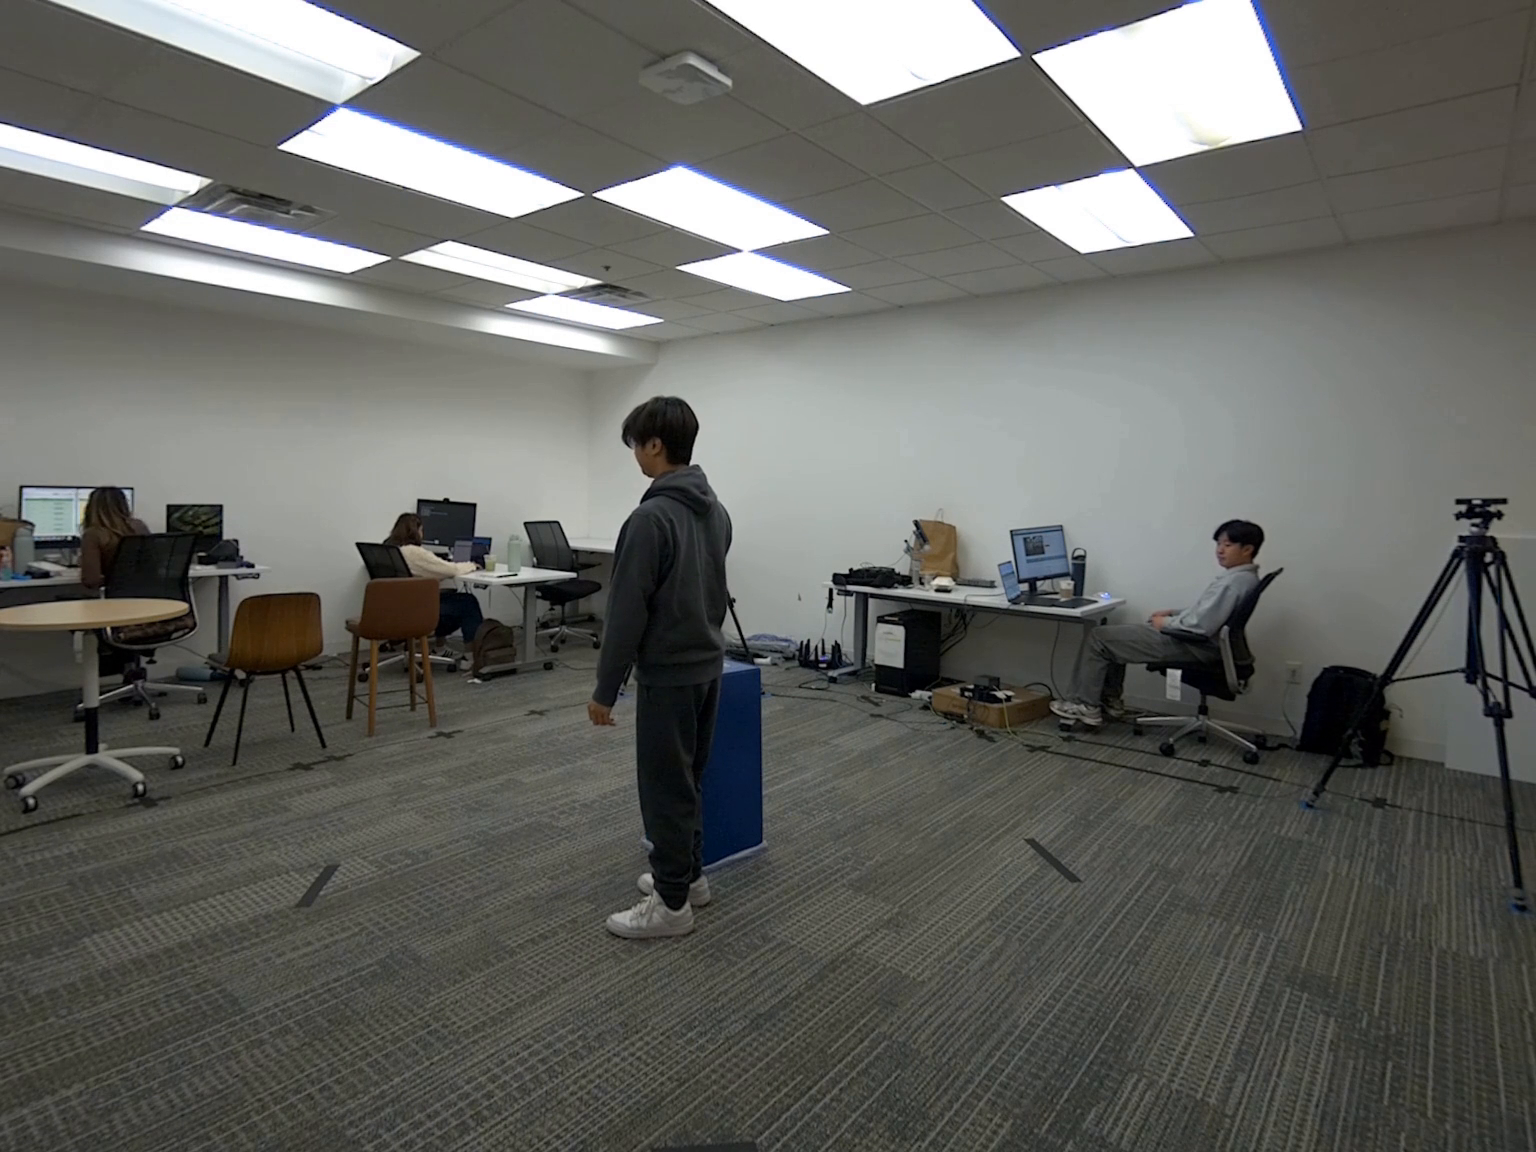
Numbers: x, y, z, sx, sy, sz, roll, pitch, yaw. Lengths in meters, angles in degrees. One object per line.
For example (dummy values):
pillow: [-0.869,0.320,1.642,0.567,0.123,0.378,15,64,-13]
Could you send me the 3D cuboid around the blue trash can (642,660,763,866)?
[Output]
blue trash can: [-0.243,0.696,3.298,0.362,0.712,0.391,-1,4,-45]
